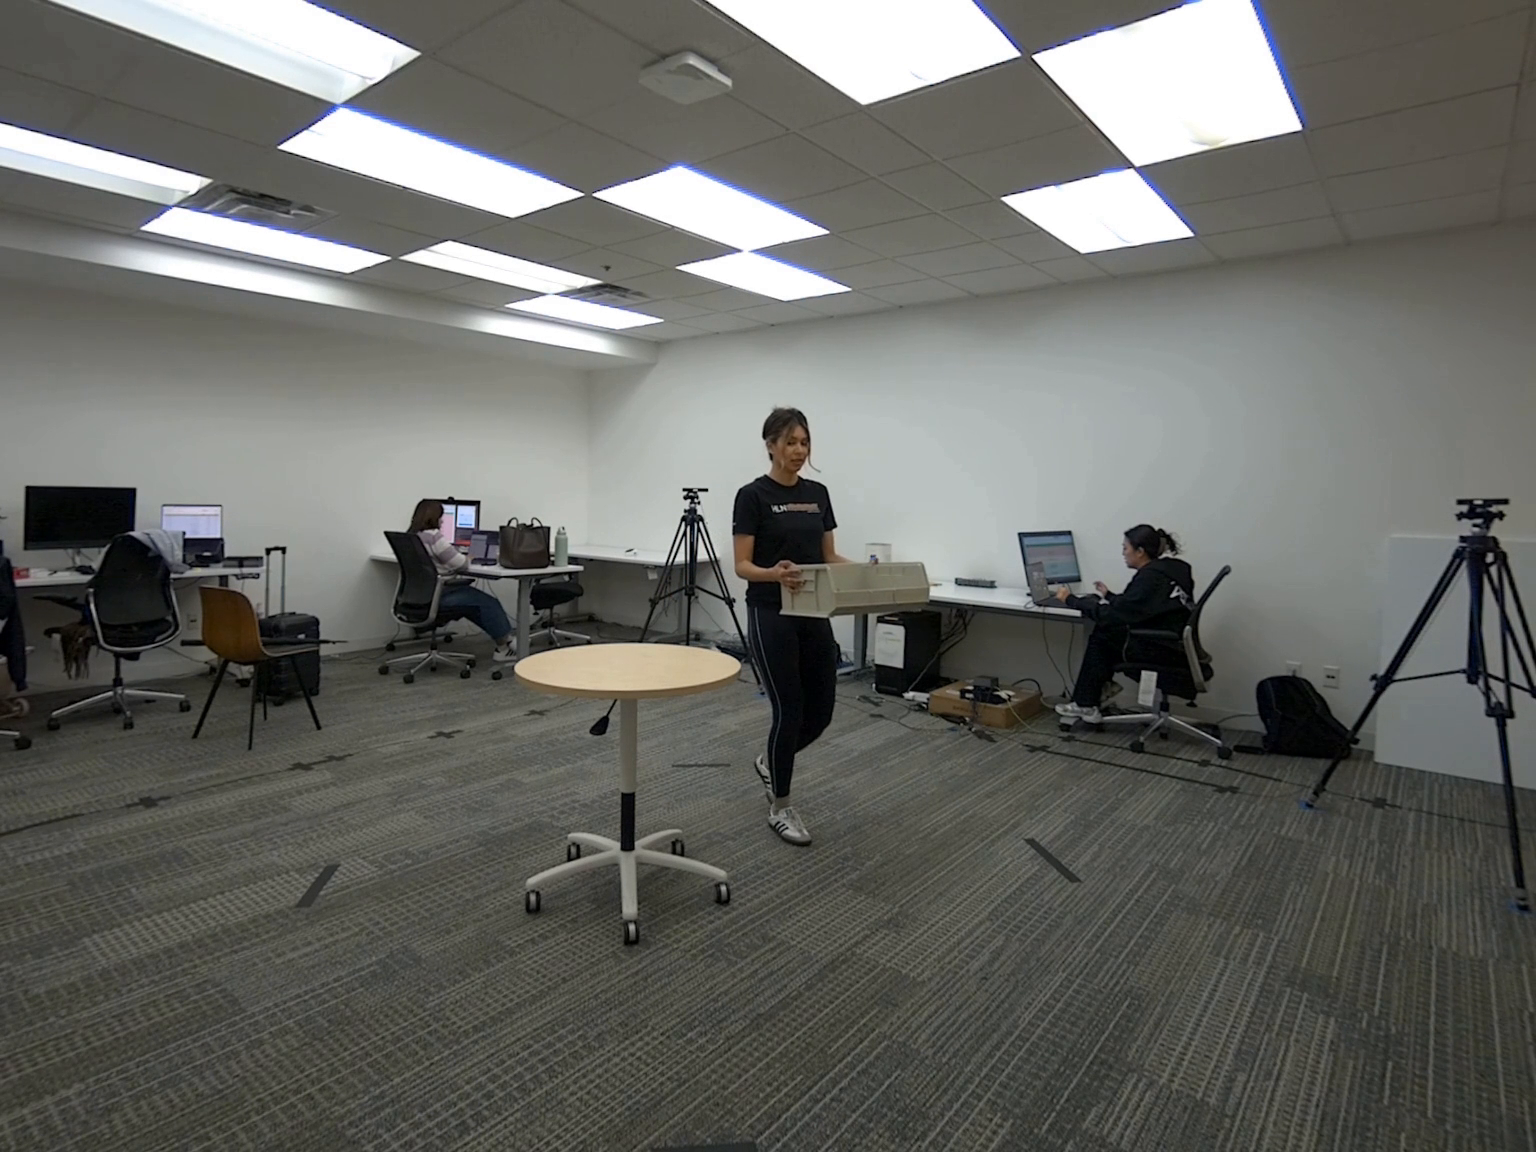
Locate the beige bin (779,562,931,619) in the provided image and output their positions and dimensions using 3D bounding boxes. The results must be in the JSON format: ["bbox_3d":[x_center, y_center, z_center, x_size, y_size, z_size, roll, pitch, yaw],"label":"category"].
[{"bbox_3d":[0.300,0.047,3.110,0.411,0.189,0.387,-2,0,-29],"label":"beige bin"}]
